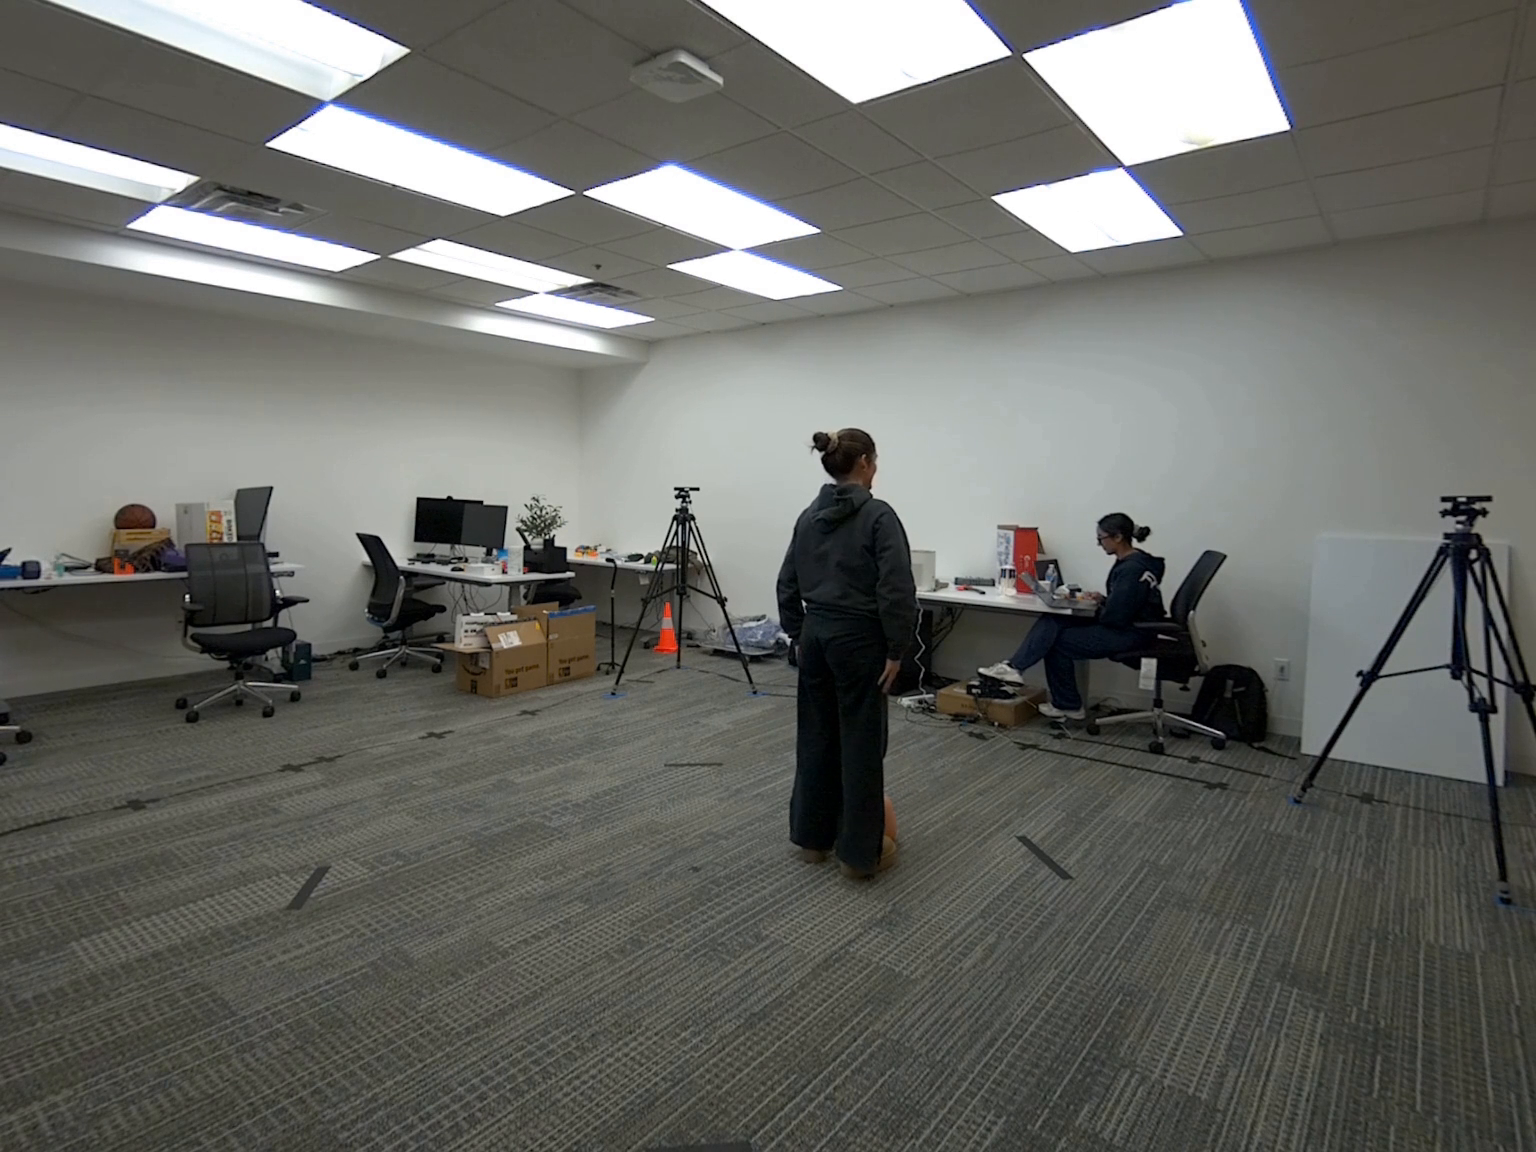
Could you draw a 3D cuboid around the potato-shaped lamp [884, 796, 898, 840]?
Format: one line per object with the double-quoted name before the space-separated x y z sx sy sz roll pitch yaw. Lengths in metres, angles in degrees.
"potato-shaped lamp" 0.432 0.942 3.386 0.170 0.197 0.167 2 5 33
